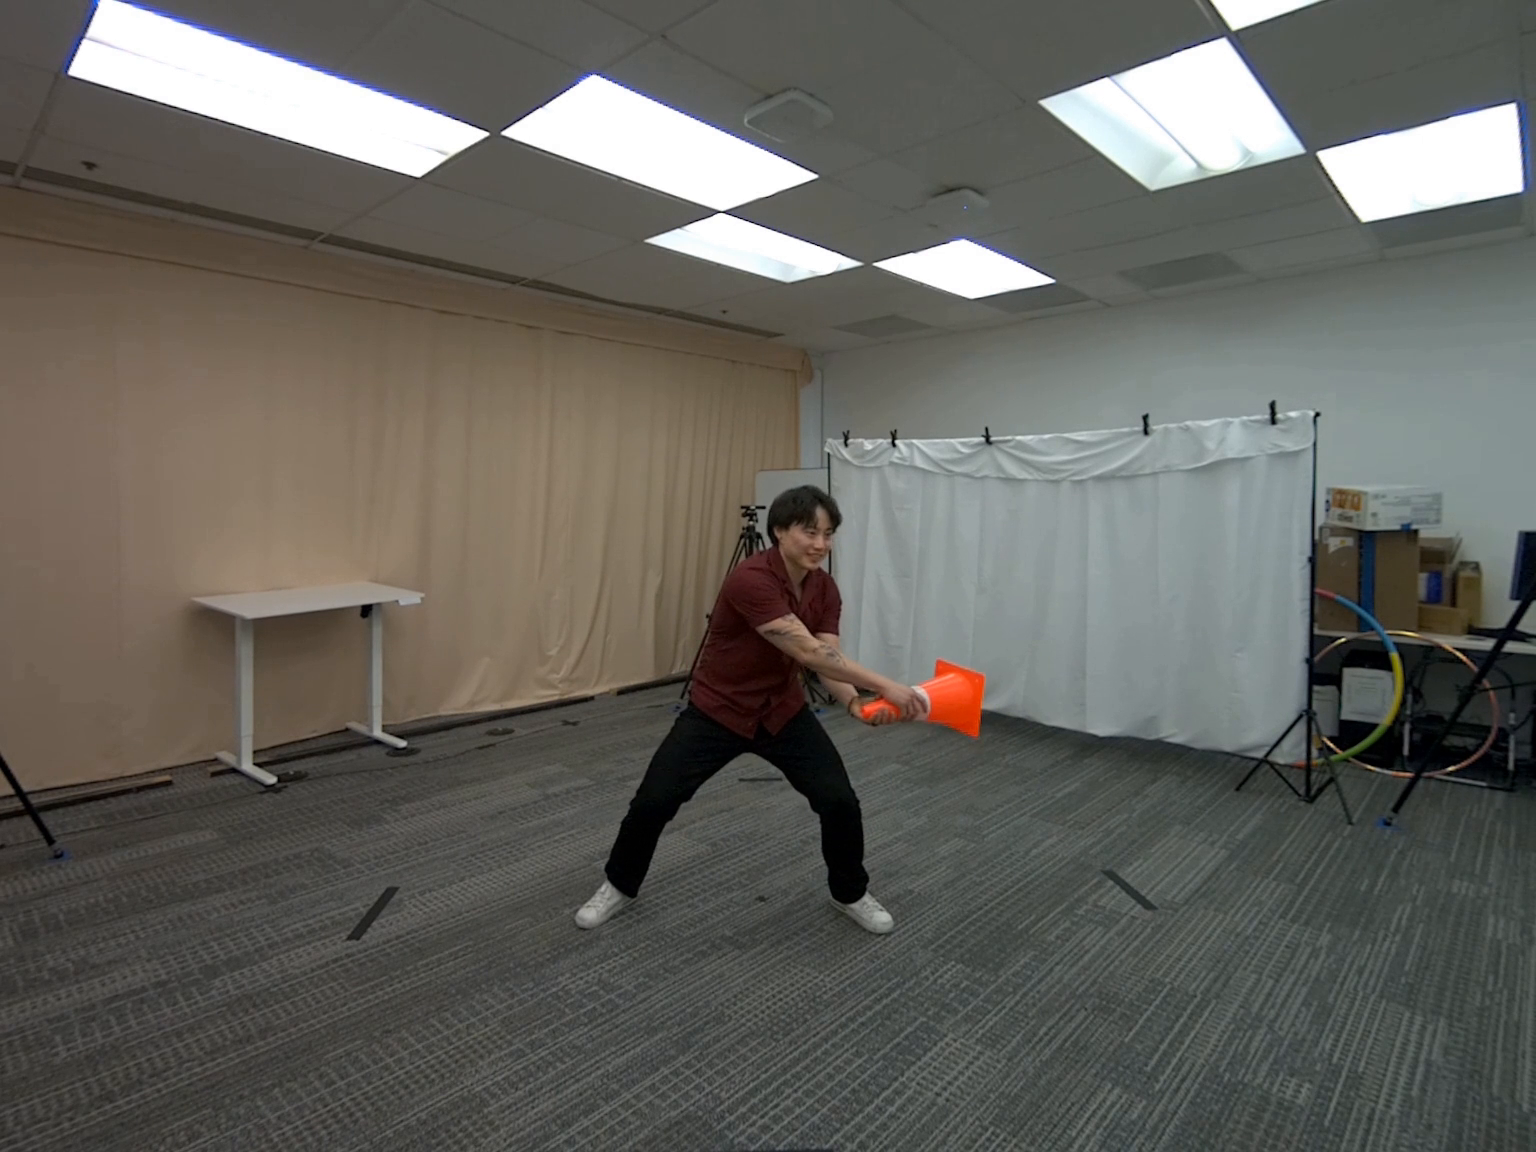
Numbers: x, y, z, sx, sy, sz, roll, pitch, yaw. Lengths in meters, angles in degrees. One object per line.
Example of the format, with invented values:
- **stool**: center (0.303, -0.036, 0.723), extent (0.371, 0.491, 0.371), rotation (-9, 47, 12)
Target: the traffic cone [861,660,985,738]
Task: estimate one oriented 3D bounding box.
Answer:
- **traffic cone**: center (0.437, 0.386, 2.526), extent (0.374, 0.202, 0.211), rotation (-3, 11, -28)
